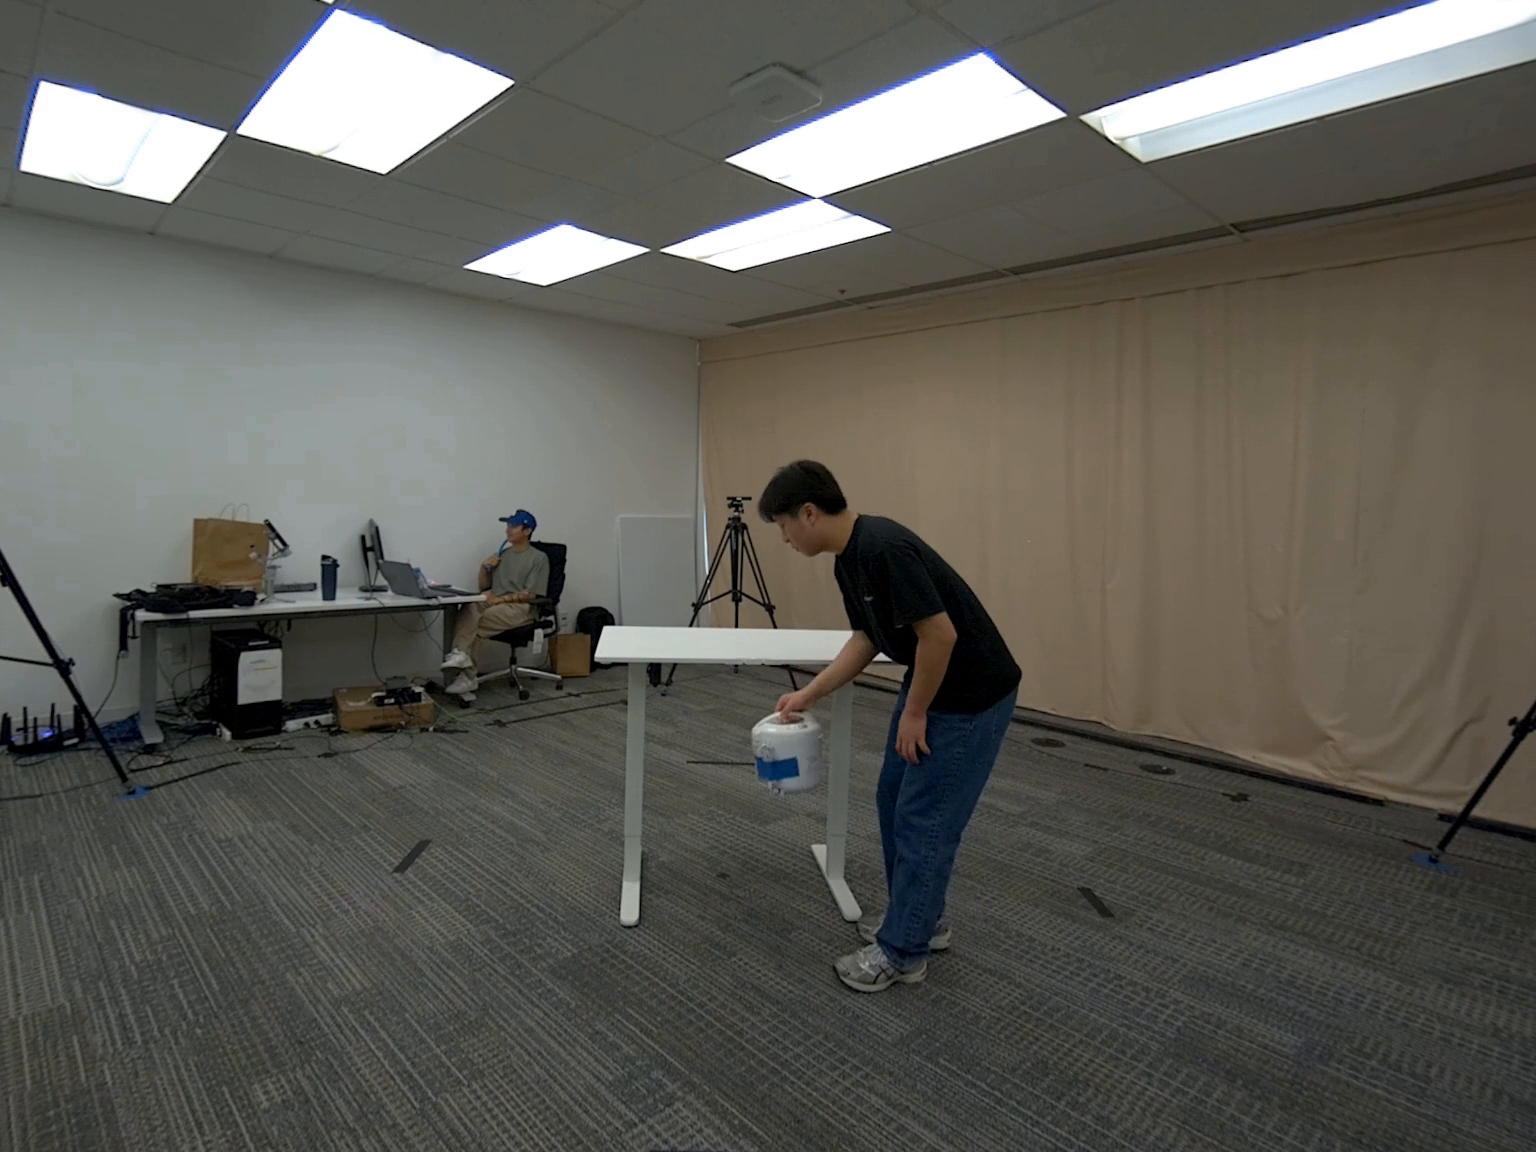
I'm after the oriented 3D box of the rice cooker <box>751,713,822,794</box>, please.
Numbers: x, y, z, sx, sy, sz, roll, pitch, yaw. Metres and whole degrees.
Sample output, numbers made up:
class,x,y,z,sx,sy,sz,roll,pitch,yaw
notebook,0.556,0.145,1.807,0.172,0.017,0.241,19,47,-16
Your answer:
class,x,y,z,sx,sy,sz,roll,pitch,yaw
rice cooker,0.059,0.534,2.584,0.218,0.232,0.220,-2,2,-13
